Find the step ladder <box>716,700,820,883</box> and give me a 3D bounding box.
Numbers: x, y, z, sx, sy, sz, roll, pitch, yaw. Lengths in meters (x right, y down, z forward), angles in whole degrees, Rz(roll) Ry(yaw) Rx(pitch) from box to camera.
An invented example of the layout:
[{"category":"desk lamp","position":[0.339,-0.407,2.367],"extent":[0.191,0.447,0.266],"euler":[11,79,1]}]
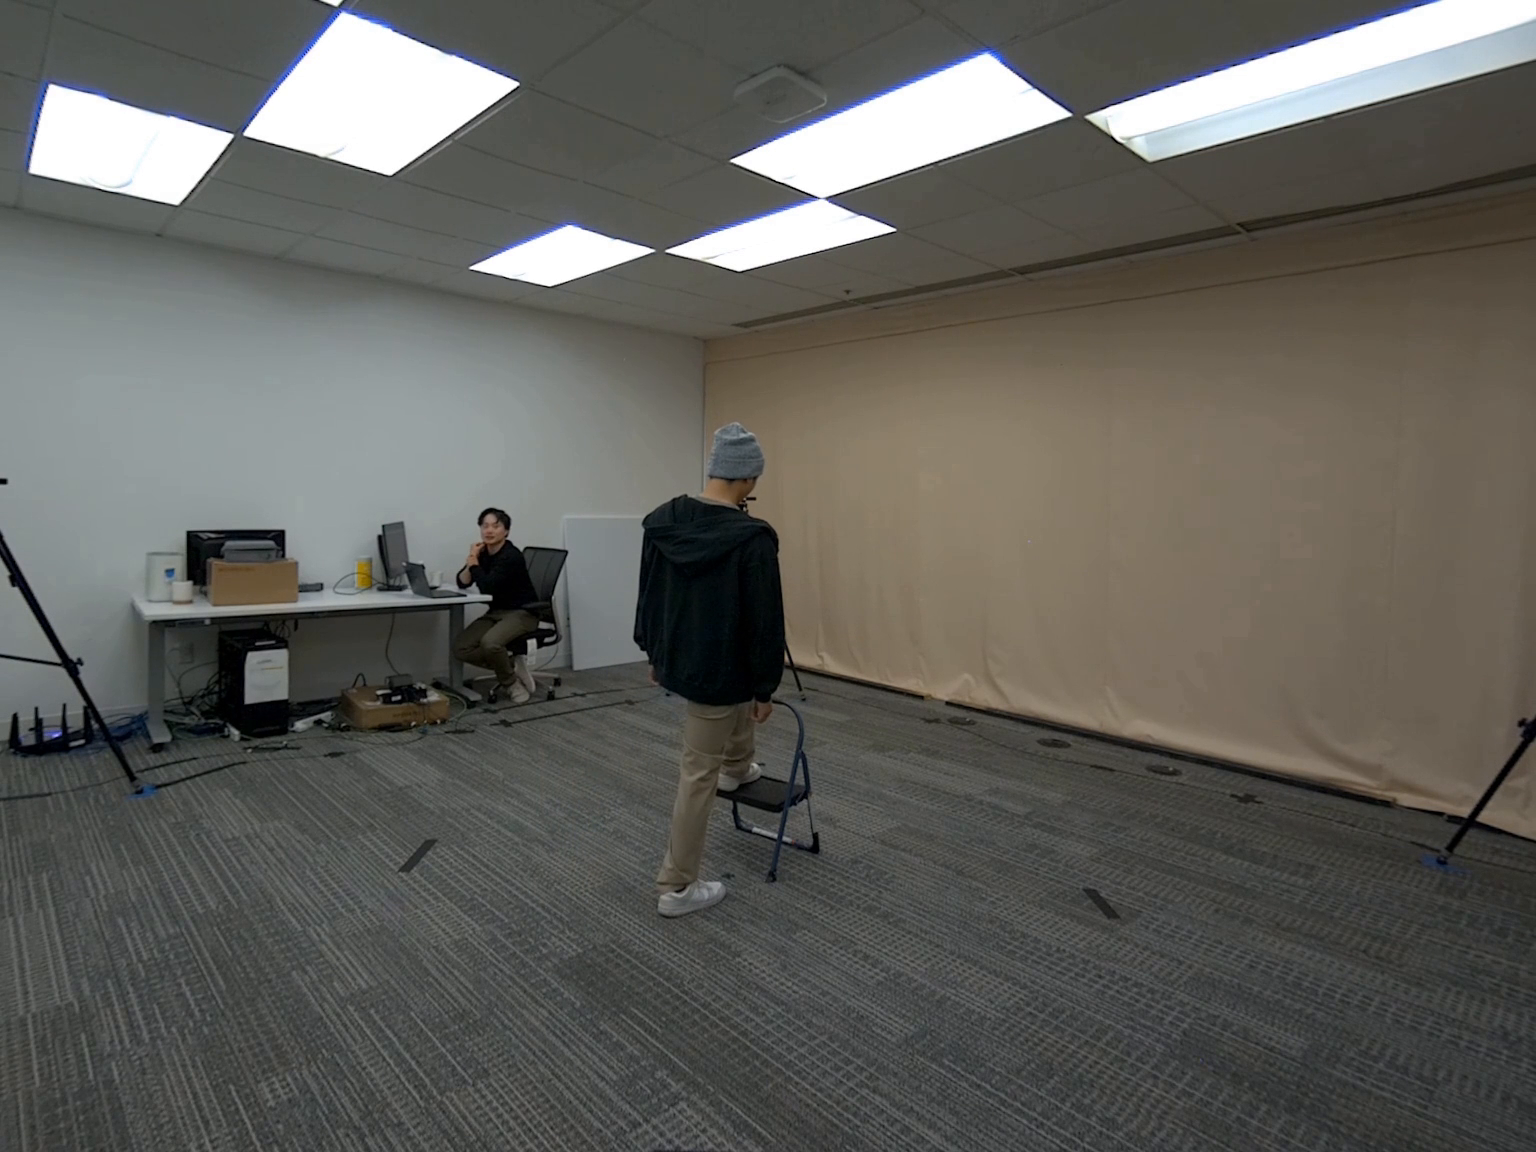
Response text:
[{"category":"step ladder","position":[-0.053,0.790,3.307],"extent":[0.441,0.605,0.341],"euler":[4,4,37]}]
